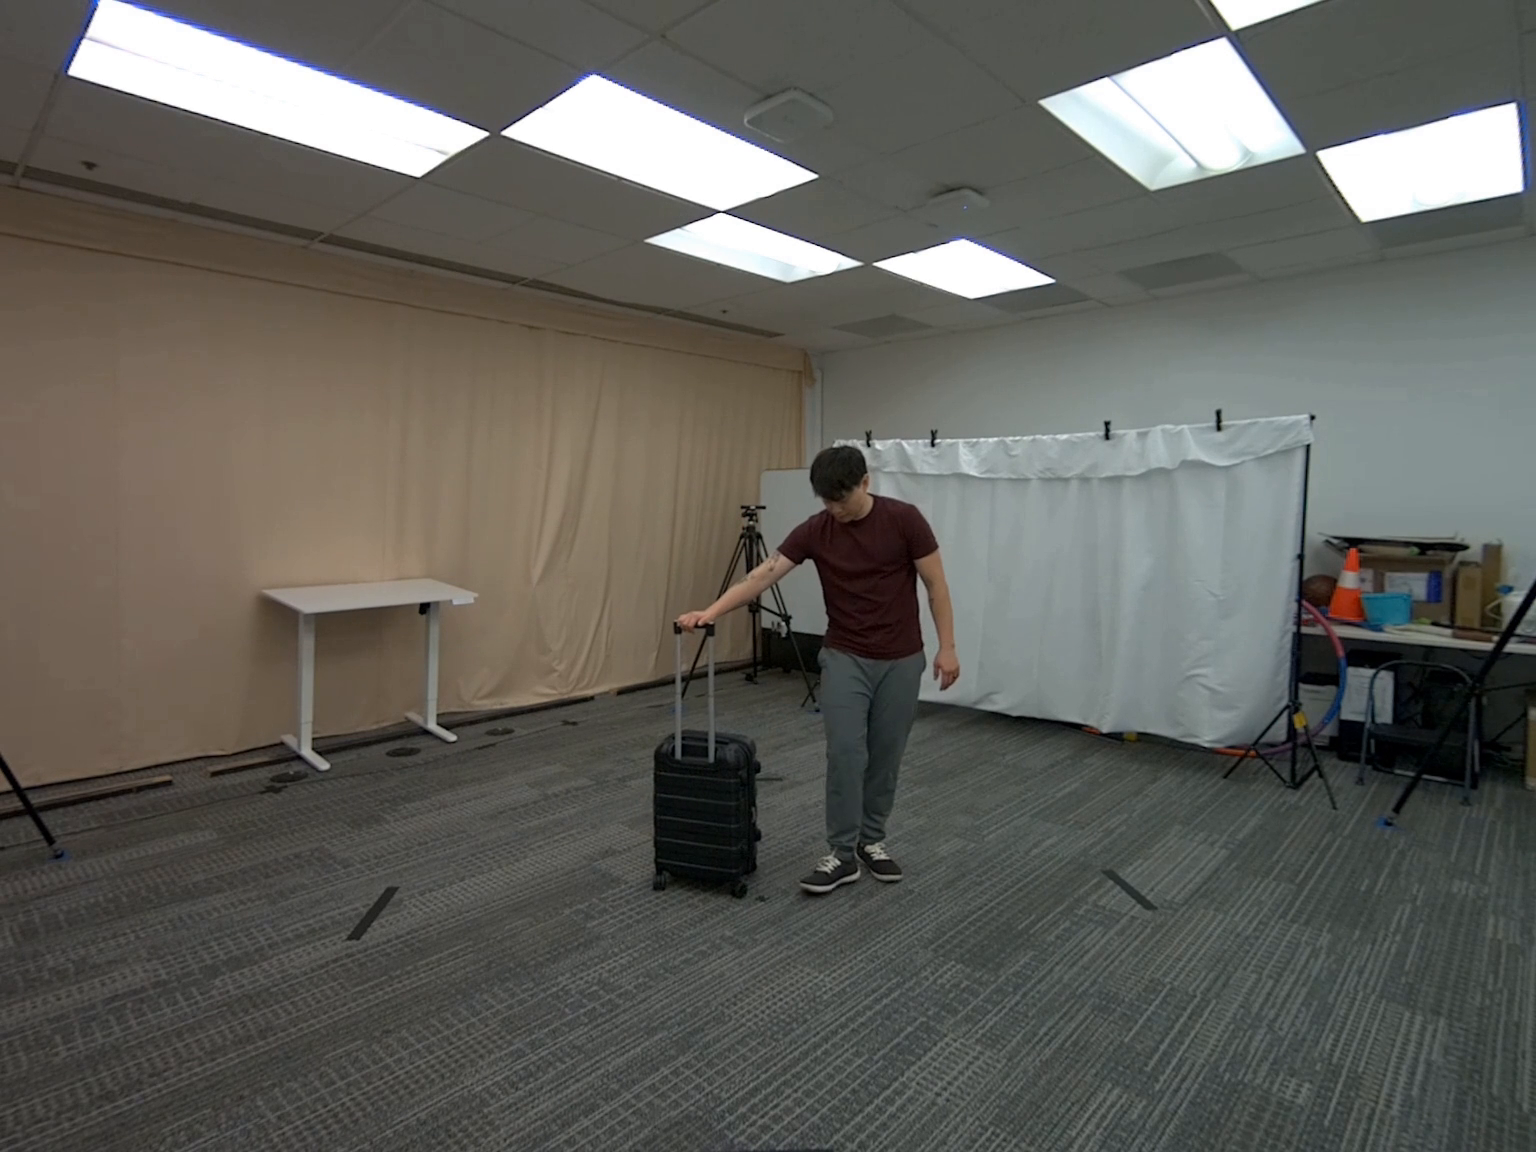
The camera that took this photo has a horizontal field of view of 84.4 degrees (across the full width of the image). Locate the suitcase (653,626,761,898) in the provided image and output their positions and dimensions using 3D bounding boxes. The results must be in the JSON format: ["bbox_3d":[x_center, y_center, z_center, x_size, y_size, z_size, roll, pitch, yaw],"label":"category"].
[{"bbox_3d":[-0.233,0.665,3.120,0.391,0.978,0.252,0,0,18],"label":"suitcase"}]
